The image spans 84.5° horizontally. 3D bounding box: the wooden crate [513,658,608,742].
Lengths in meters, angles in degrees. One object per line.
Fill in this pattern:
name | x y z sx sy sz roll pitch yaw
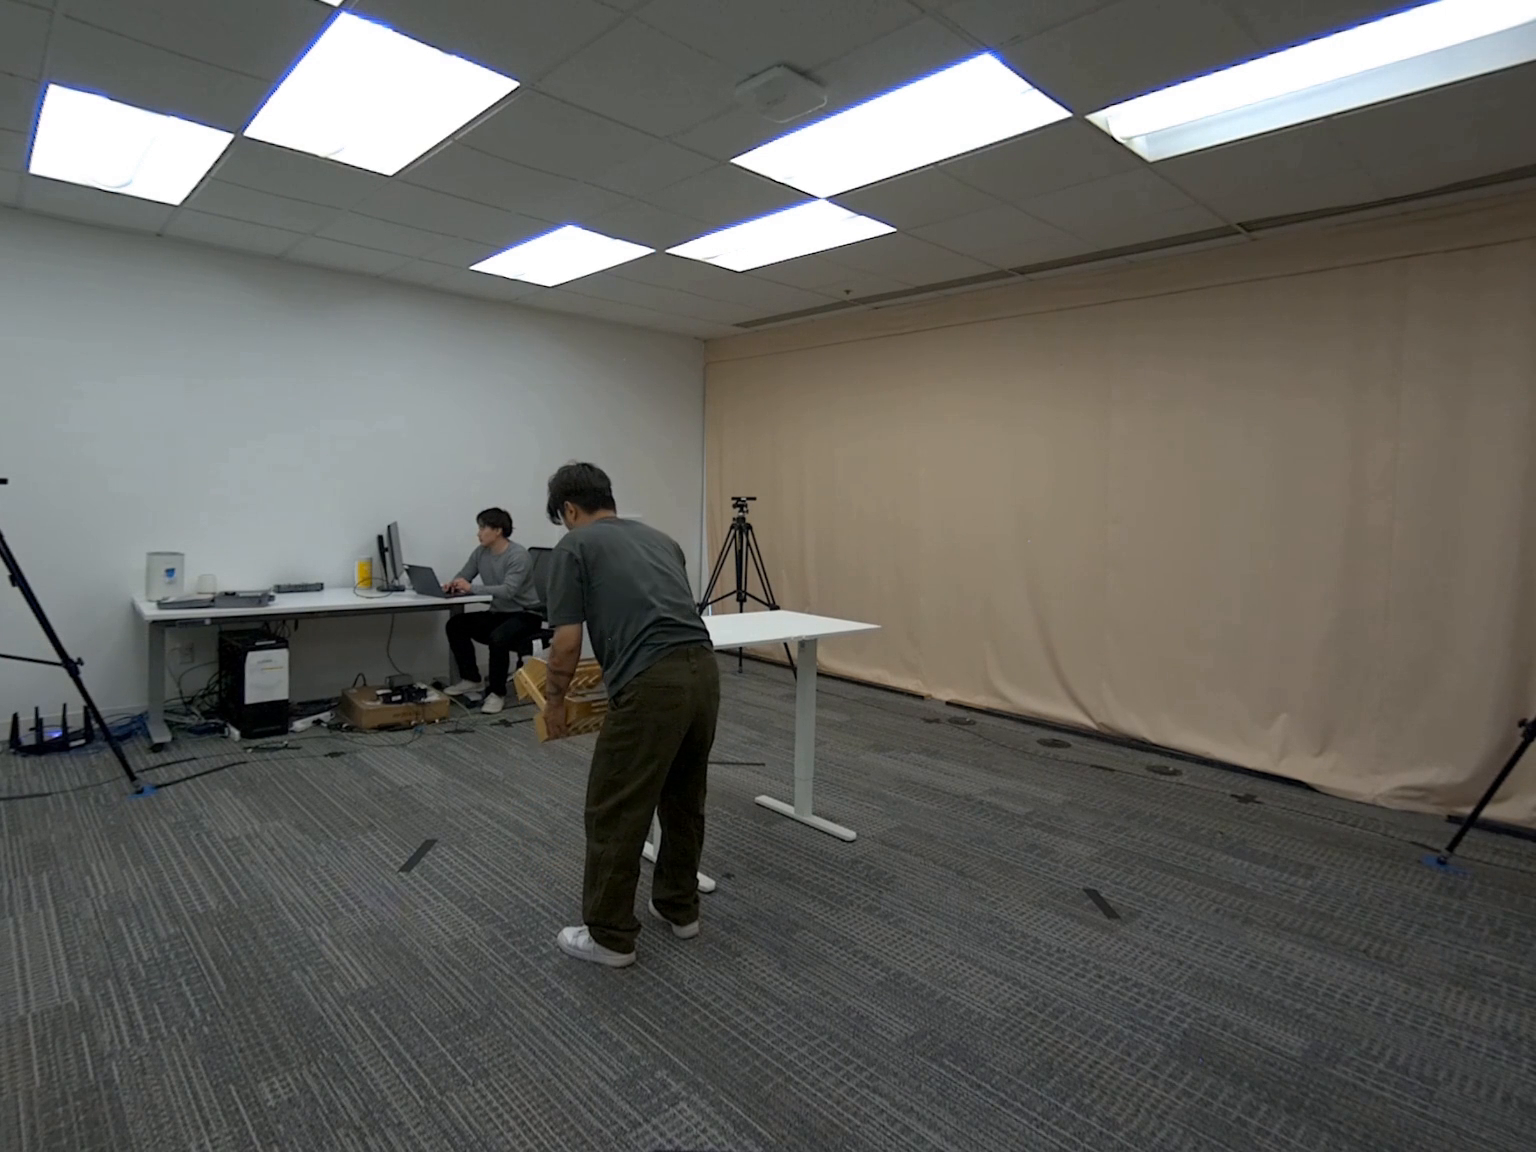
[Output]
wooden crate | -0.630 0.379 2.813 0.317 0.278 0.304 0 -28 -48
